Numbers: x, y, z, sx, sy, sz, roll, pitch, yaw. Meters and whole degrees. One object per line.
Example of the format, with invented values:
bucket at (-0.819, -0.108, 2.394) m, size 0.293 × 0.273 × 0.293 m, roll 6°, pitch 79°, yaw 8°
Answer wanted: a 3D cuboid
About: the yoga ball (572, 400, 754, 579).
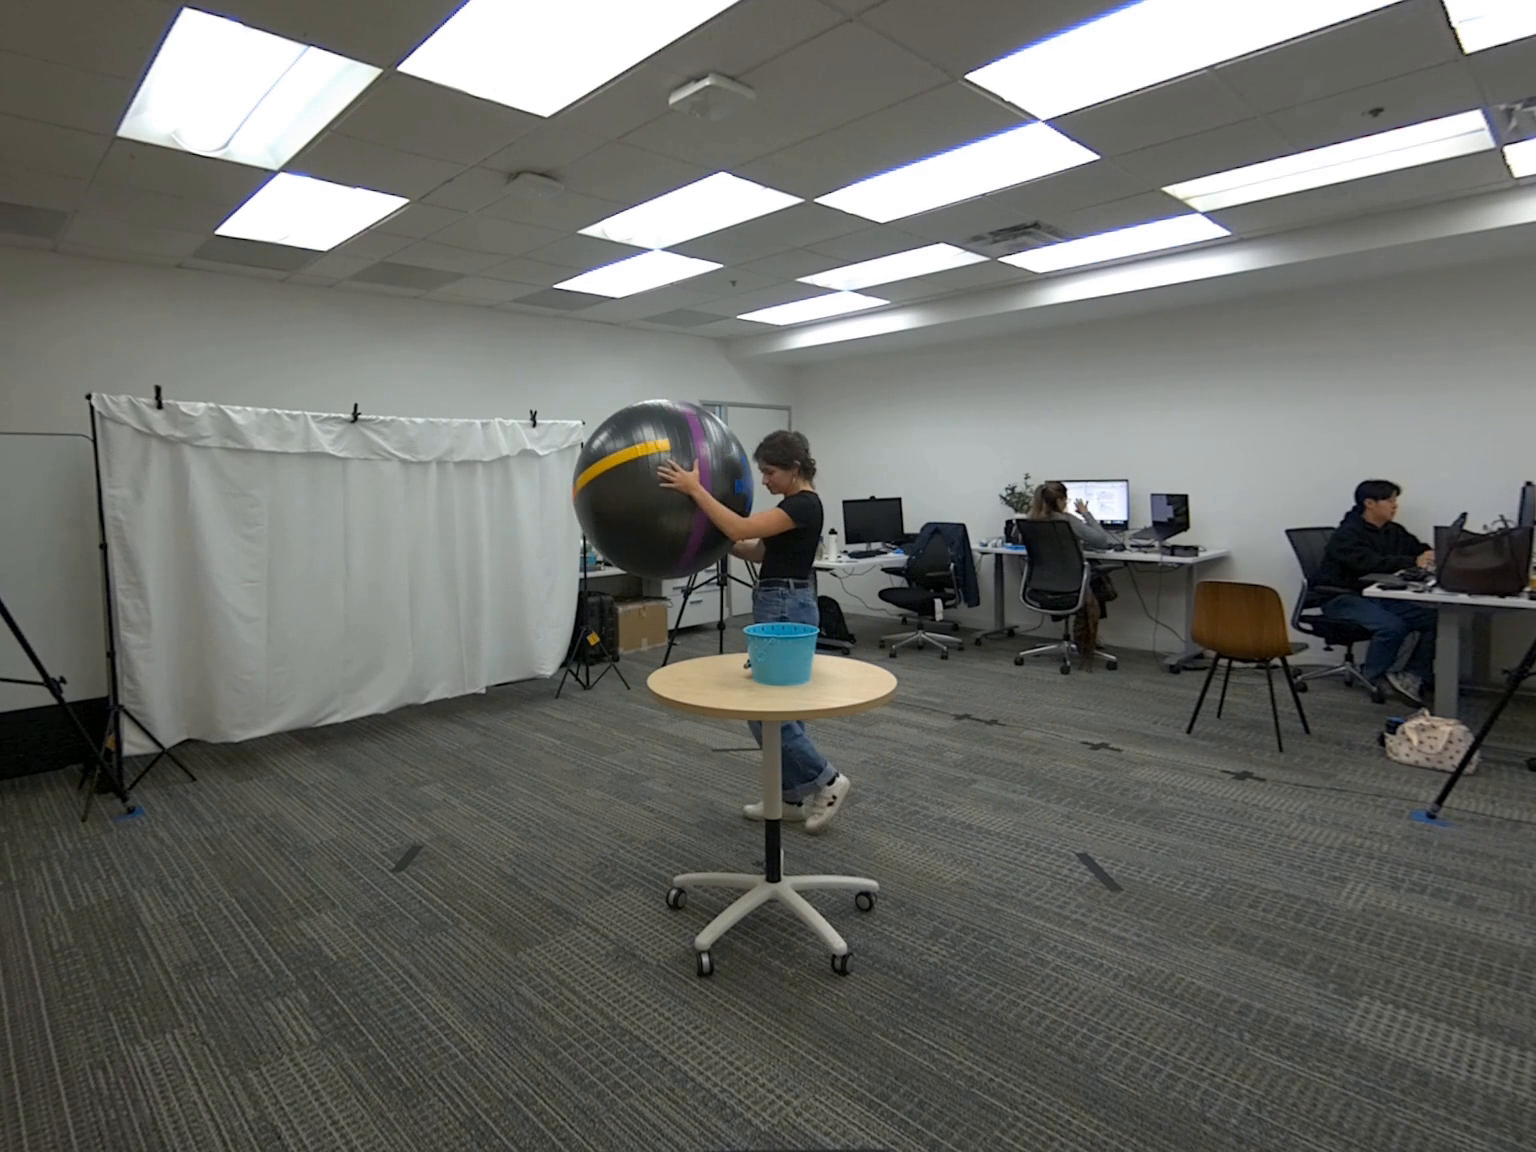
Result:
yoga ball at (-0.437, -0.348, 3.605) m, size 0.757 × 0.755 × 0.762 m, roll -1°, pitch 5°, yaw -2°
